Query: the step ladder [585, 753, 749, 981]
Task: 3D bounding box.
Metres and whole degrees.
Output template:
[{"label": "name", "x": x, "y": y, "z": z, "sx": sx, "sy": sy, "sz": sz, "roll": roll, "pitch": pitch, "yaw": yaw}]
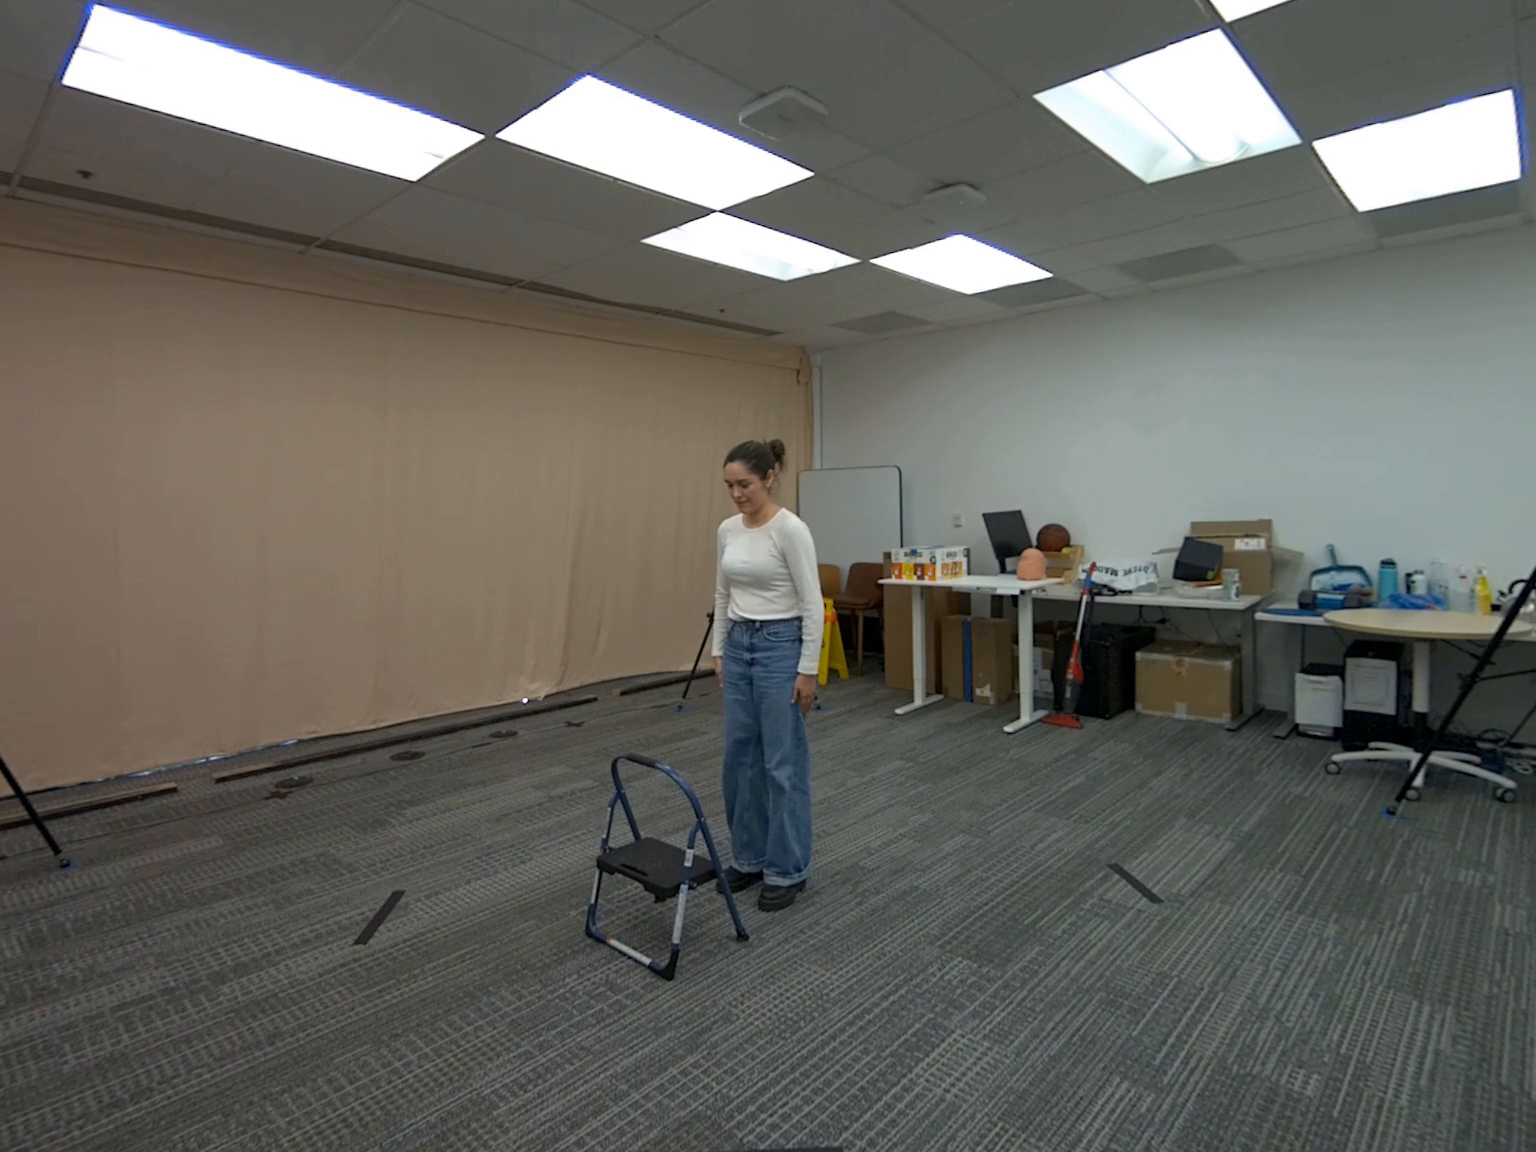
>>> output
[{"label": "step ladder", "x": -0.335, "y": 0.866, "z": 2.717, "sx": 0.445, "sy": 0.605, "sz": 0.338, "roll": 2, "pitch": 3, "yaw": 42}]
